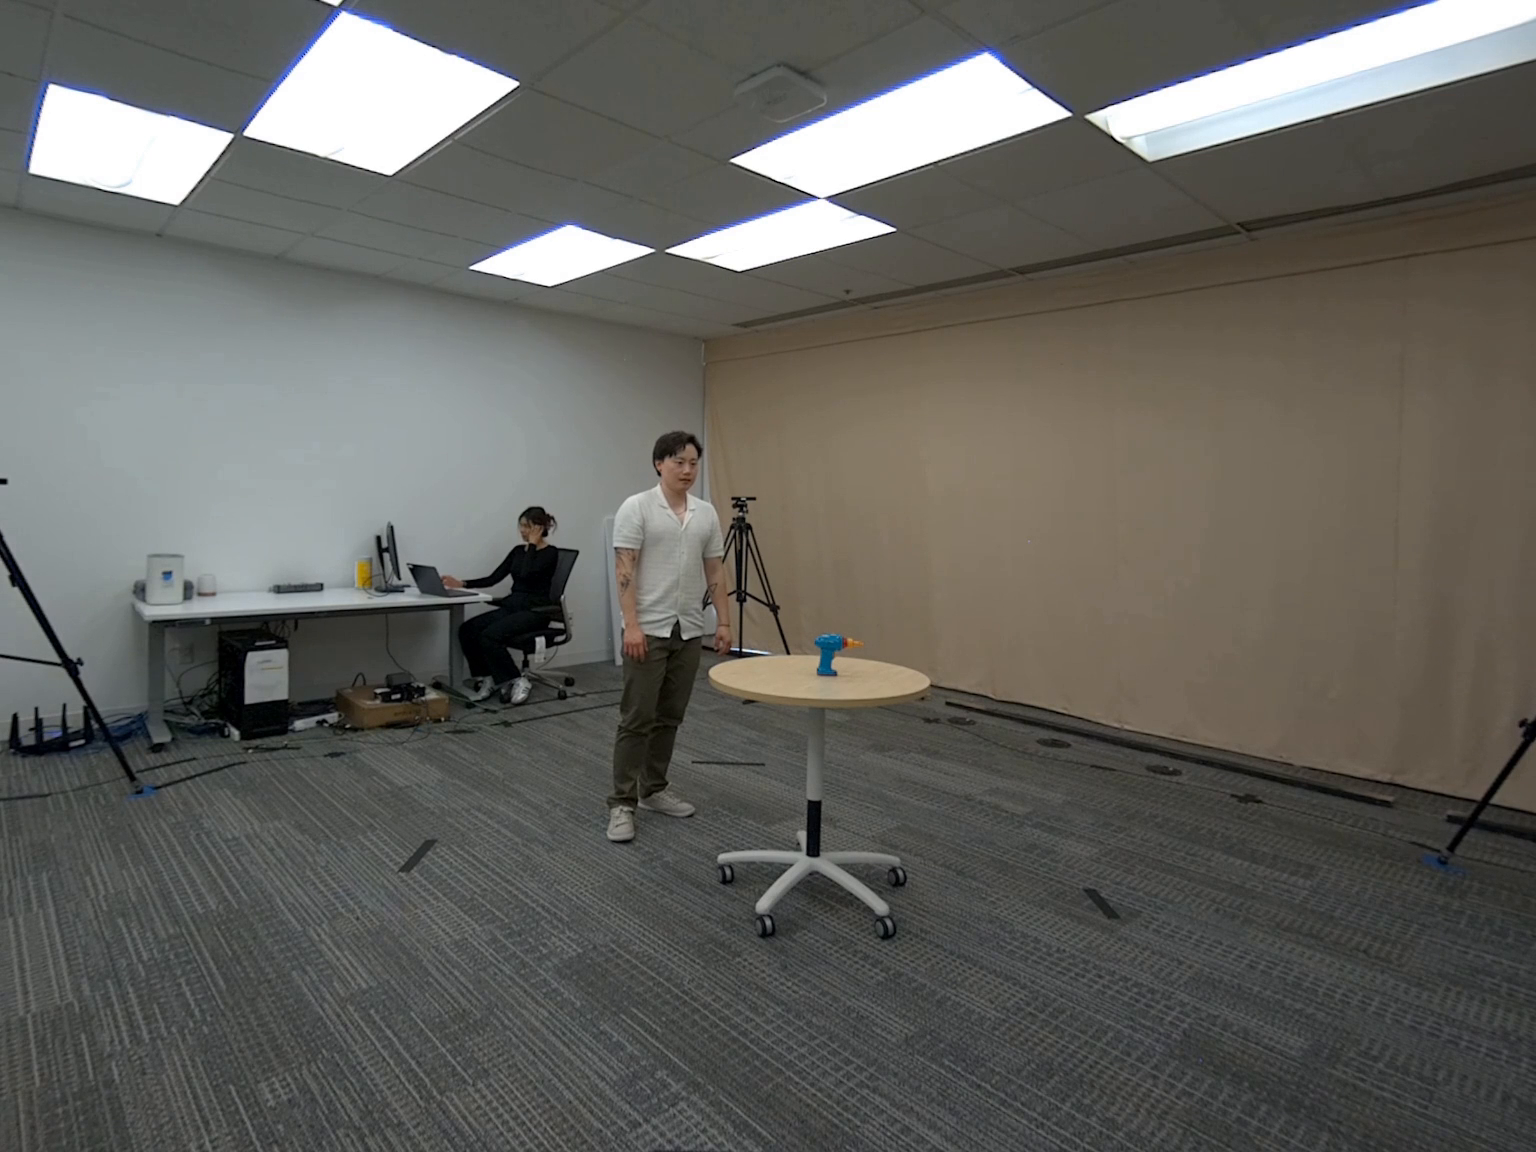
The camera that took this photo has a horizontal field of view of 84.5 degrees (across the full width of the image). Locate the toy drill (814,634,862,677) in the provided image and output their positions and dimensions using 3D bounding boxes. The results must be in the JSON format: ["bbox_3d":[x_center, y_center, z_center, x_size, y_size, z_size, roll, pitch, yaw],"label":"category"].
[{"bbox_3d":[0.240,0.273,2.941,0.169,0.146,0.061,0,2,-1],"label":"toy drill"}]
